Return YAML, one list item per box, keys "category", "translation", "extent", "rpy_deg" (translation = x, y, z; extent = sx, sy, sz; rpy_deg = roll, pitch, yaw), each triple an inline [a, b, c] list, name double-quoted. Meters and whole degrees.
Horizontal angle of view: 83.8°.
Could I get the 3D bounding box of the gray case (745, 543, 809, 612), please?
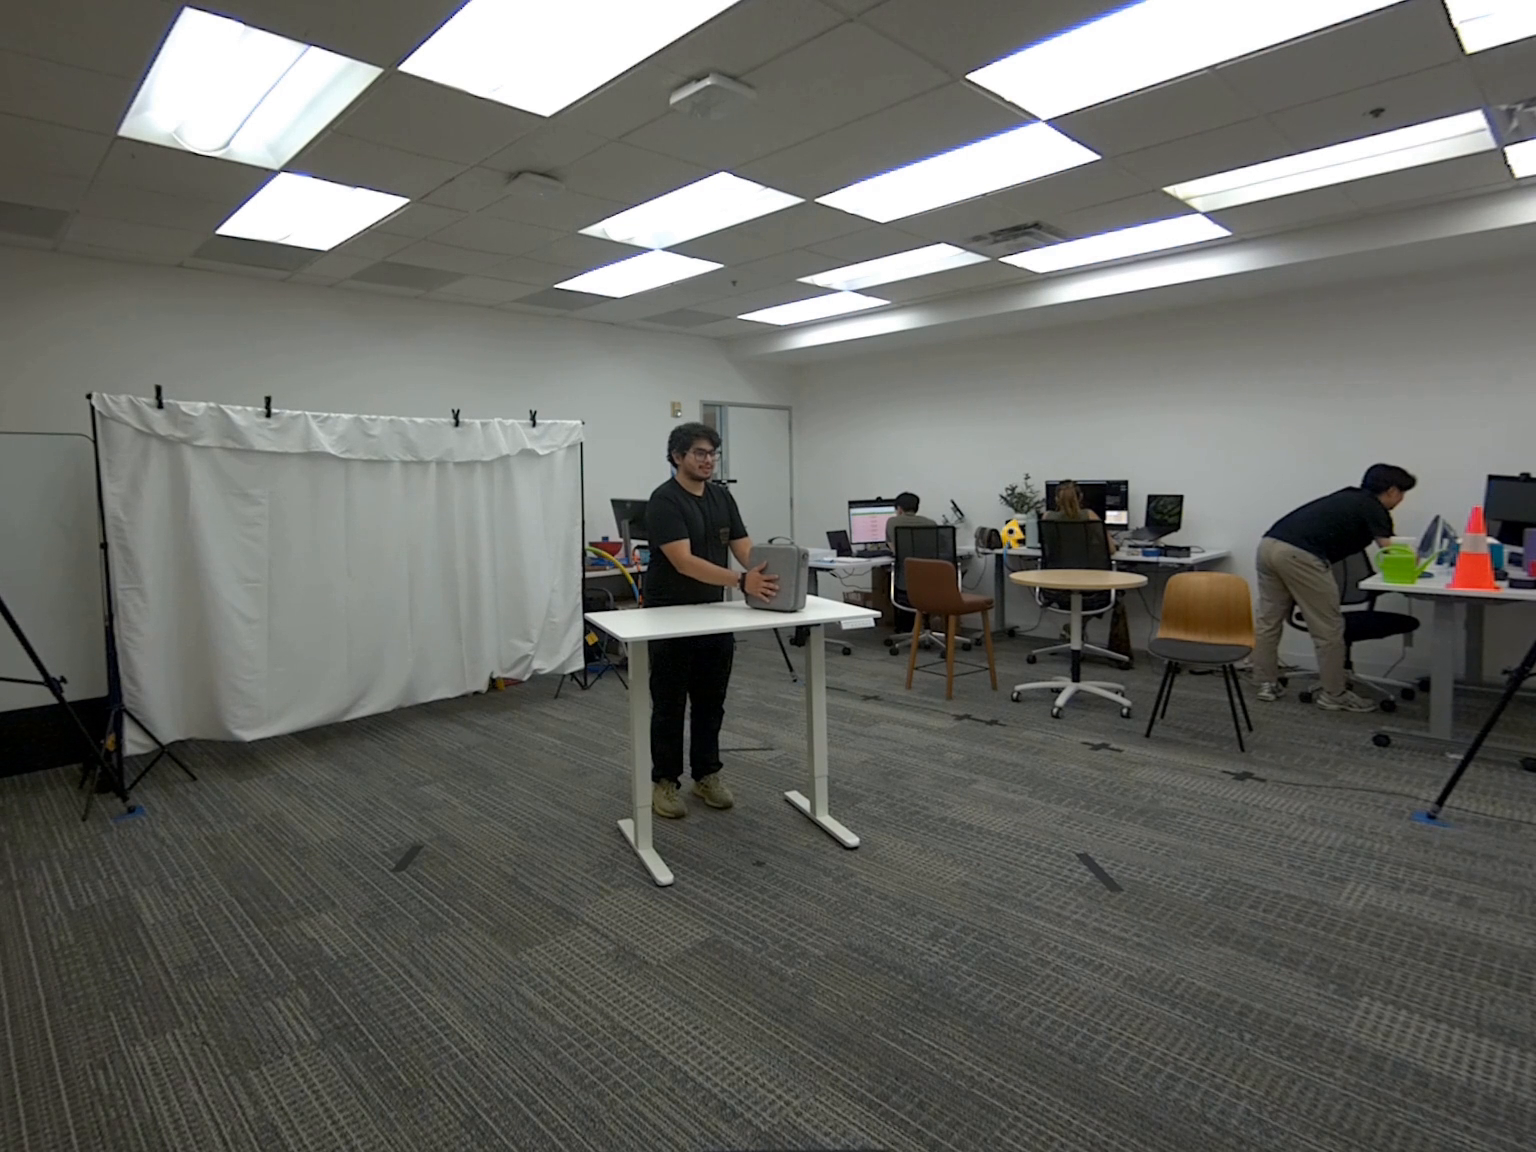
- category: "gray case"
  translation: [0.036, 0.002, 3.359]
  extent: [0.101, 0.262, 0.264]
  rpy_deg: [10, -6, -44]
